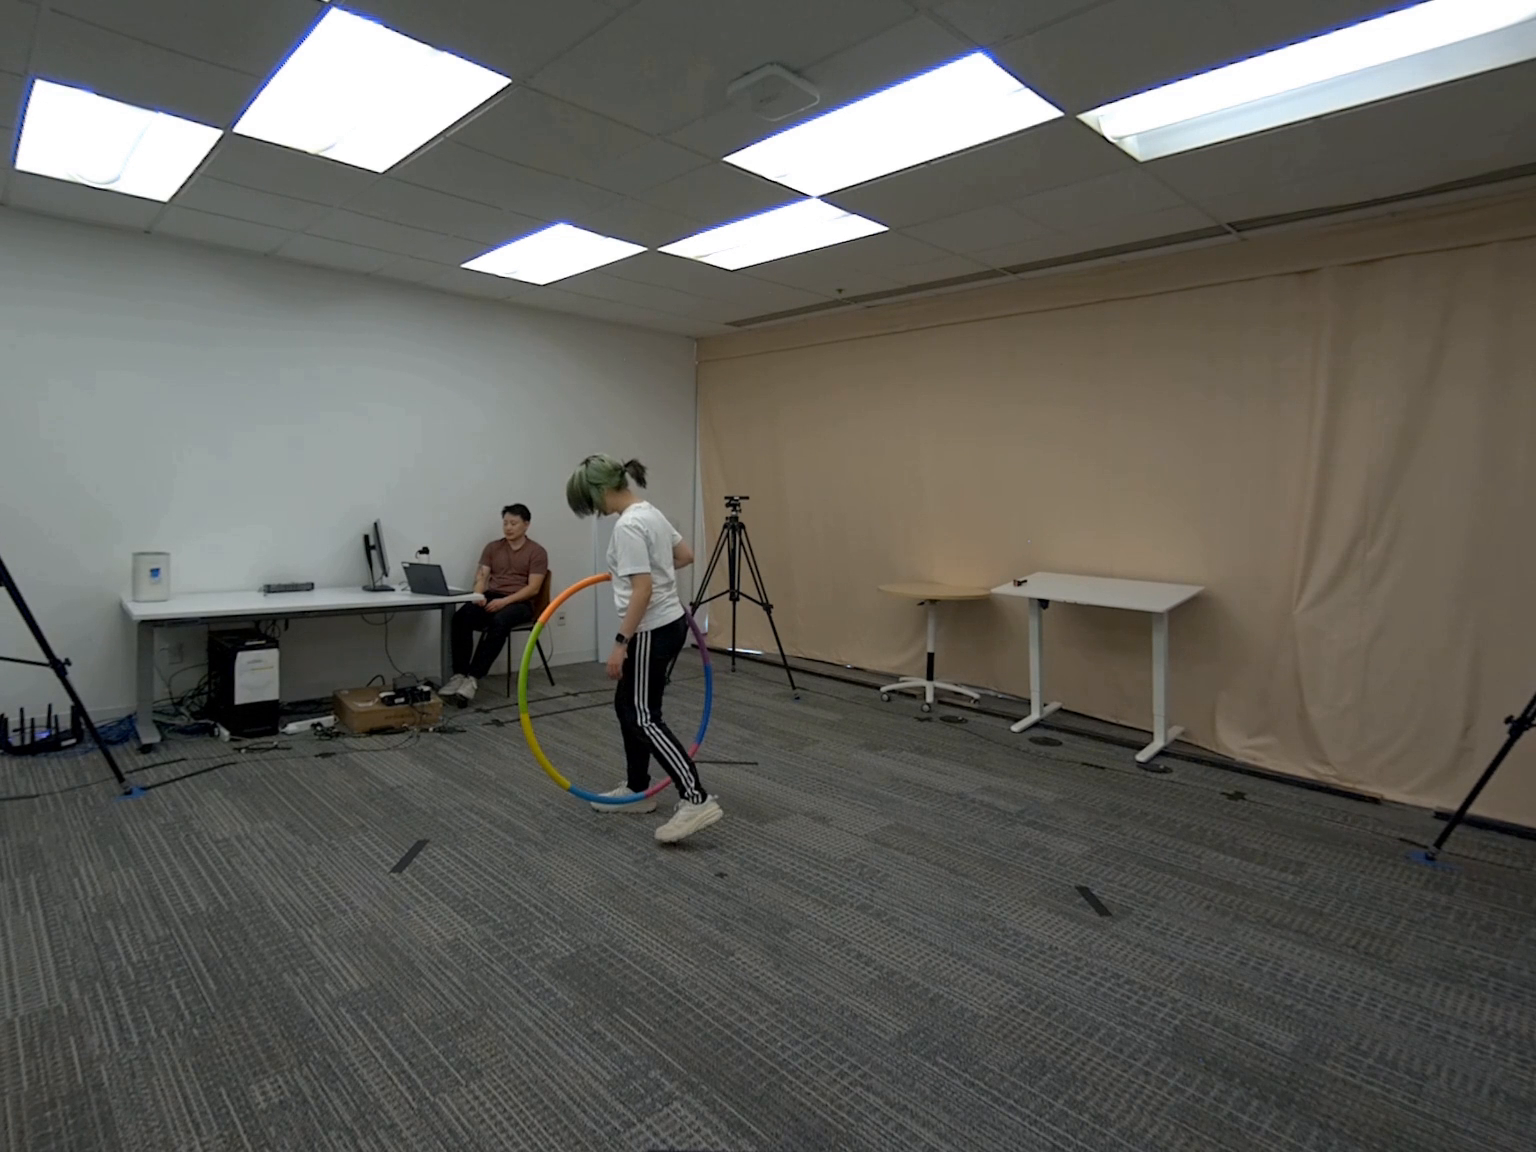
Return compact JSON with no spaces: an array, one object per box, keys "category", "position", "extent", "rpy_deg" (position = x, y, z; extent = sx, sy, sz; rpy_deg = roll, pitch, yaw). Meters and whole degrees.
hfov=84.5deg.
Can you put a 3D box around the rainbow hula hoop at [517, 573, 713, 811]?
[{"category":"rainbow hula hoop","position":[-0.644,0.483,3.684],"extent":[0.956,0.983,0.036],"rpy_deg":[-2,-7,-40]}]
